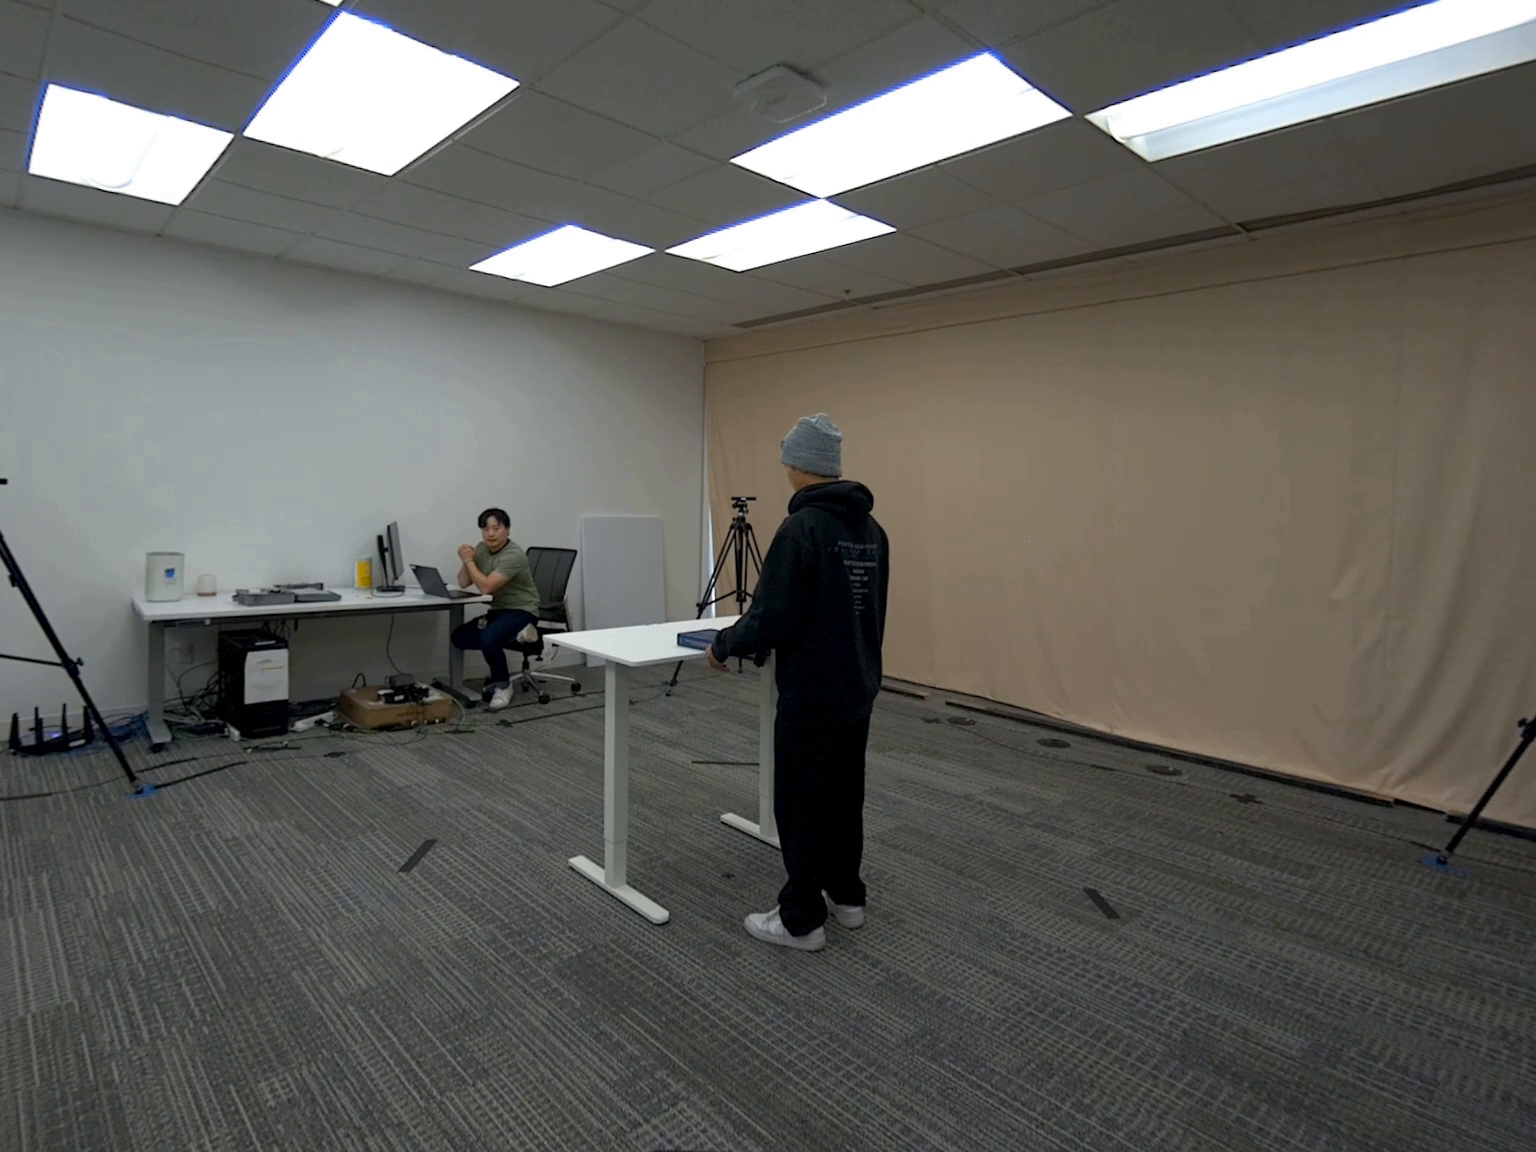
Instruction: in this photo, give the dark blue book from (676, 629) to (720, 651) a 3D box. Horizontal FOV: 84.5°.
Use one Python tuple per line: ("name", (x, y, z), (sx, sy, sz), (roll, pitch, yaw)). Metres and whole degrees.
("dark blue book", (-0.170, 0.225, 2.876), (0.251, 0.045, 0.160), (6, 8, 39))
